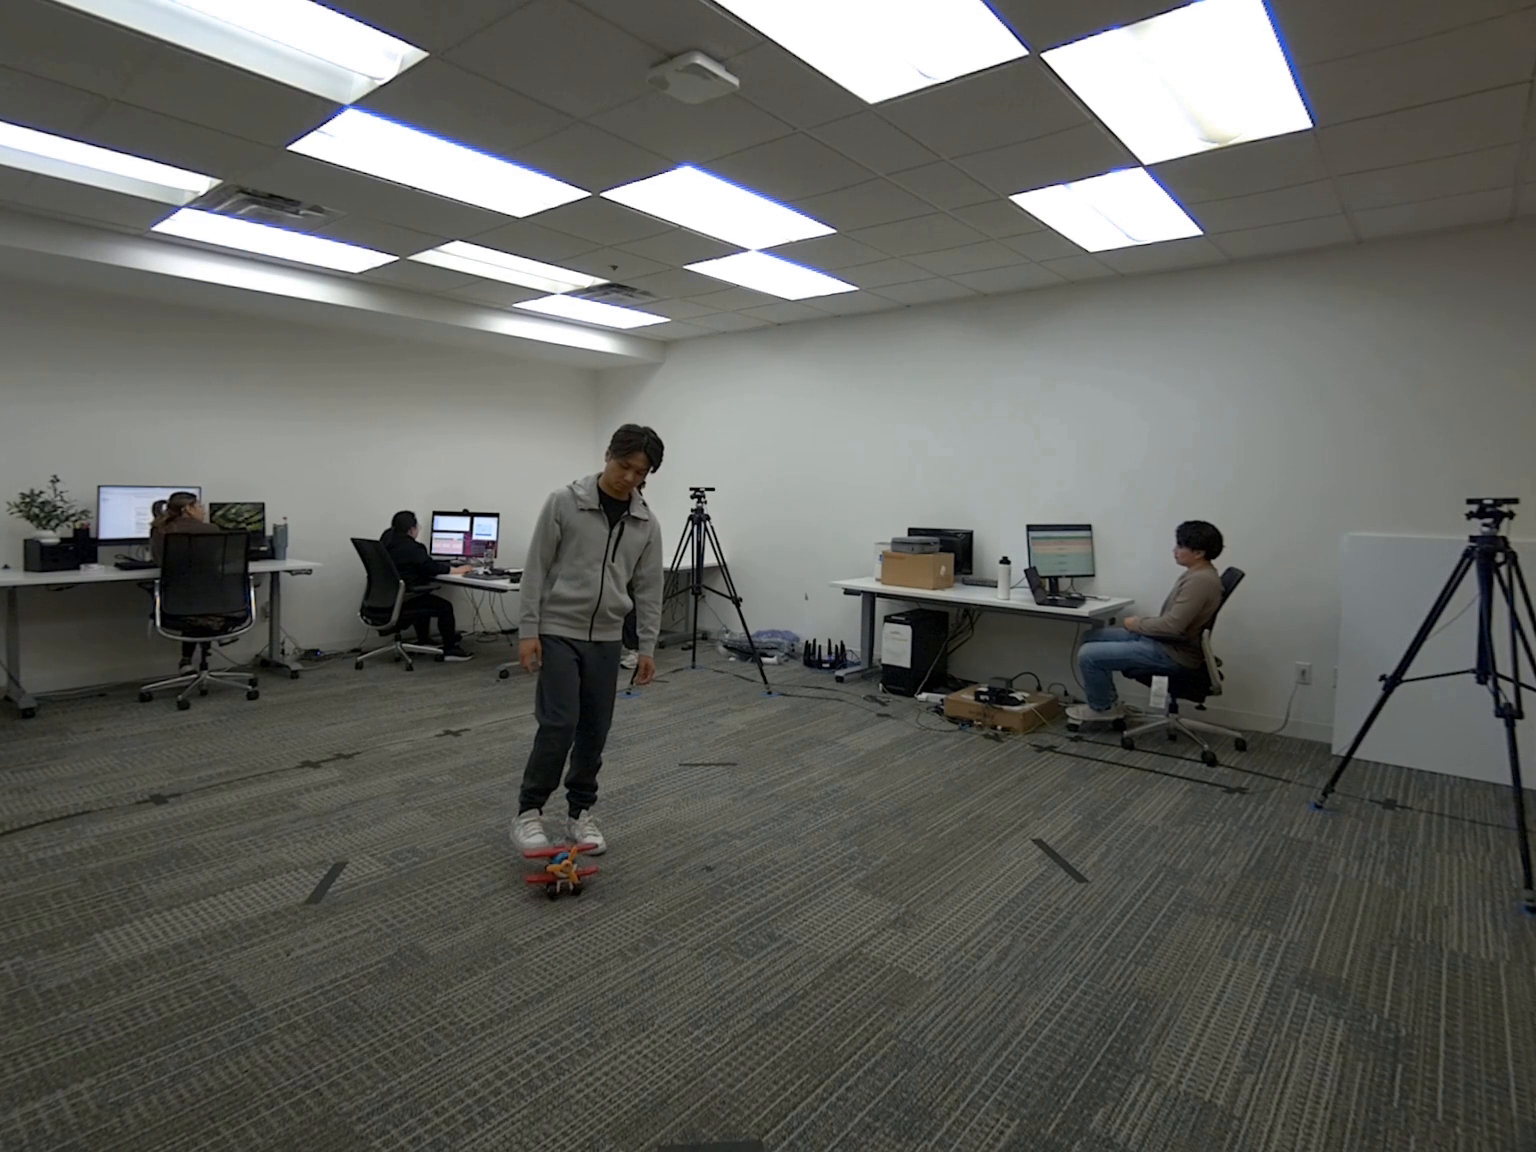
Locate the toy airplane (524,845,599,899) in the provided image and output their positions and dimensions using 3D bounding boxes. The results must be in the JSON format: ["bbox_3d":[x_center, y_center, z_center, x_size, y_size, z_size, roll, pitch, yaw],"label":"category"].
[{"bbox_3d":[-0.753,0.998,2.945,0.268,0.155,0.244,7,10,39],"label":"toy airplane"}]
